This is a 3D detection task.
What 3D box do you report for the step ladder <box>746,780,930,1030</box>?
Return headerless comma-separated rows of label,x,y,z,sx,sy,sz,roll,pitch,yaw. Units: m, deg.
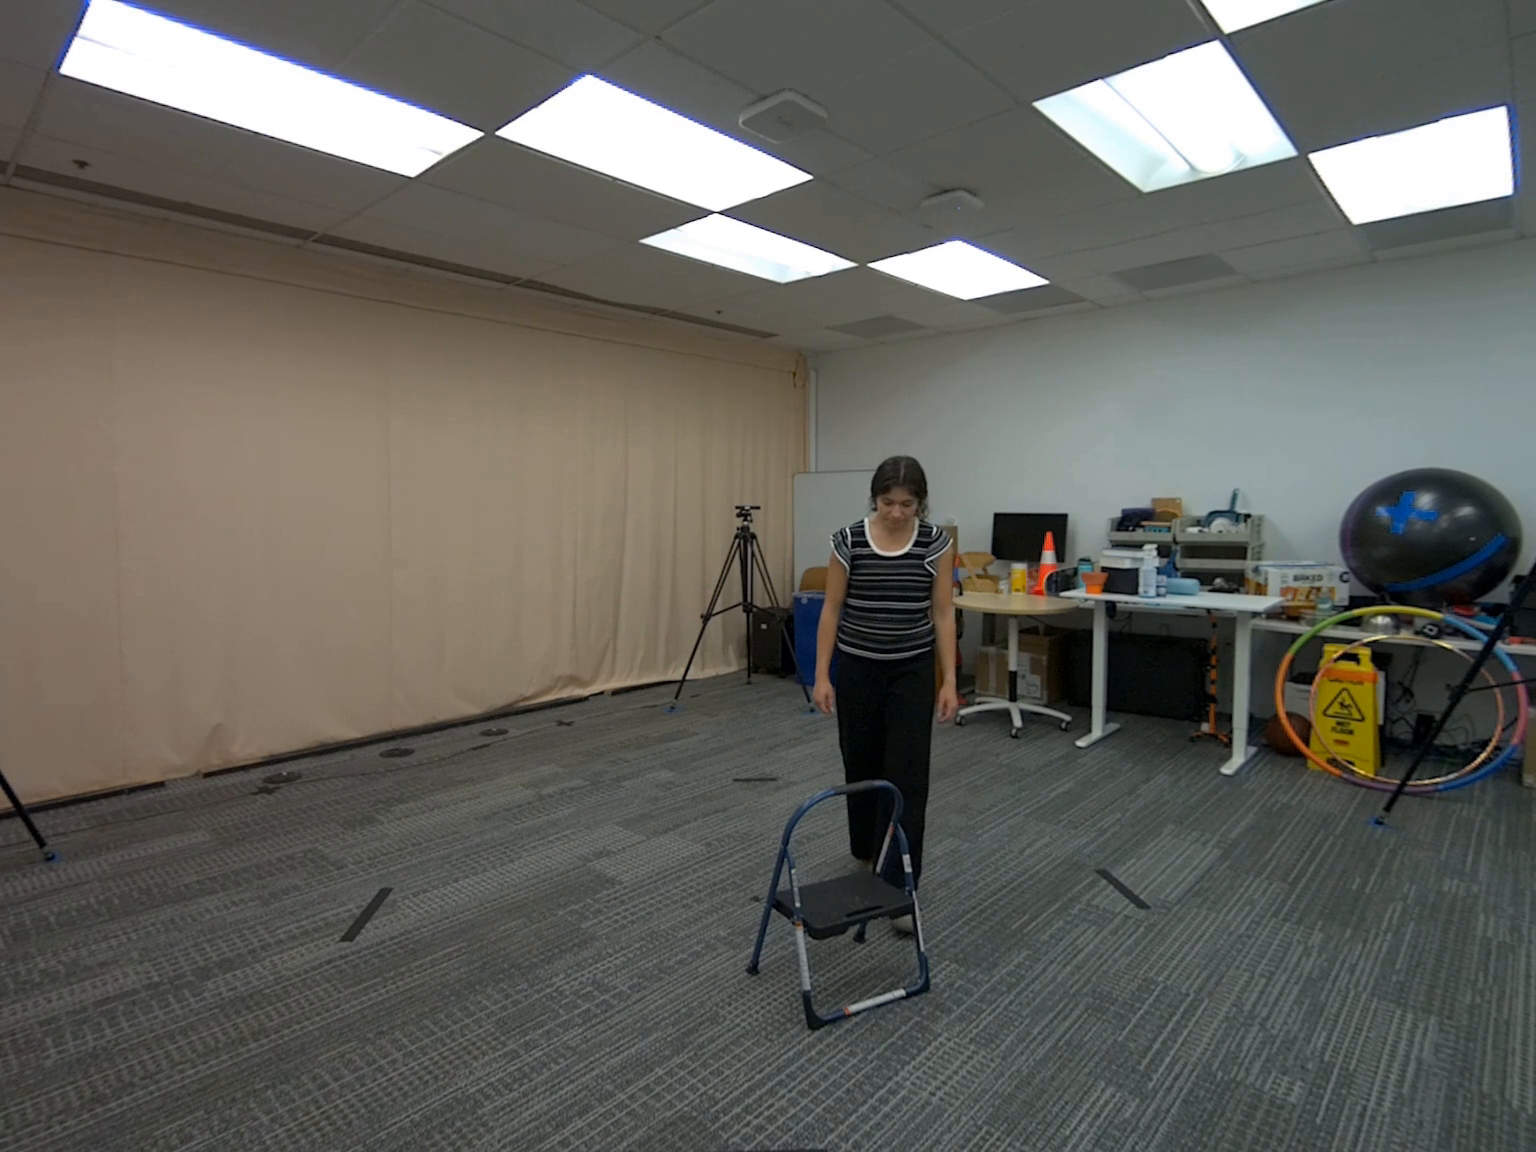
step ladder,0.207,0.887,2.456,0.419,0.605,0.359,-2,4,-30
